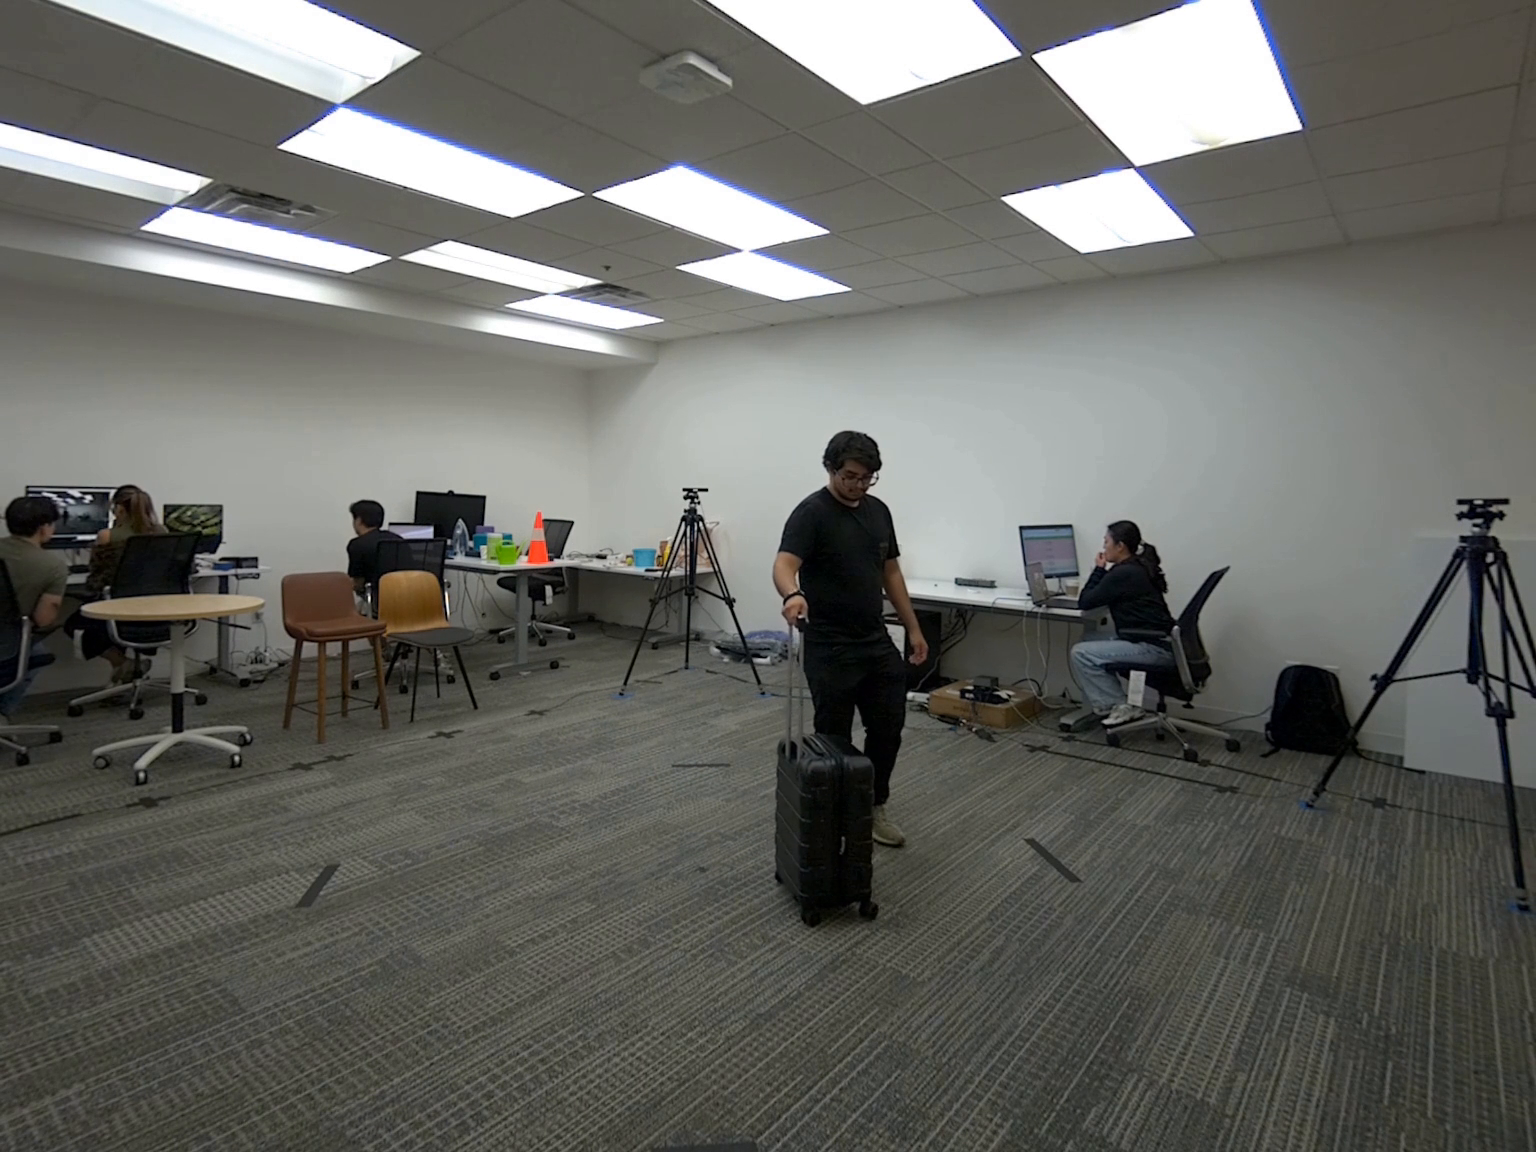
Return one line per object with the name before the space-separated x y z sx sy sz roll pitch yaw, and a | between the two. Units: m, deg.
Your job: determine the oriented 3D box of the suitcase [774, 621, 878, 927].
suitcase | 0.178 0.621 2.865 0.253 0.976 0.390 2 3 -14
